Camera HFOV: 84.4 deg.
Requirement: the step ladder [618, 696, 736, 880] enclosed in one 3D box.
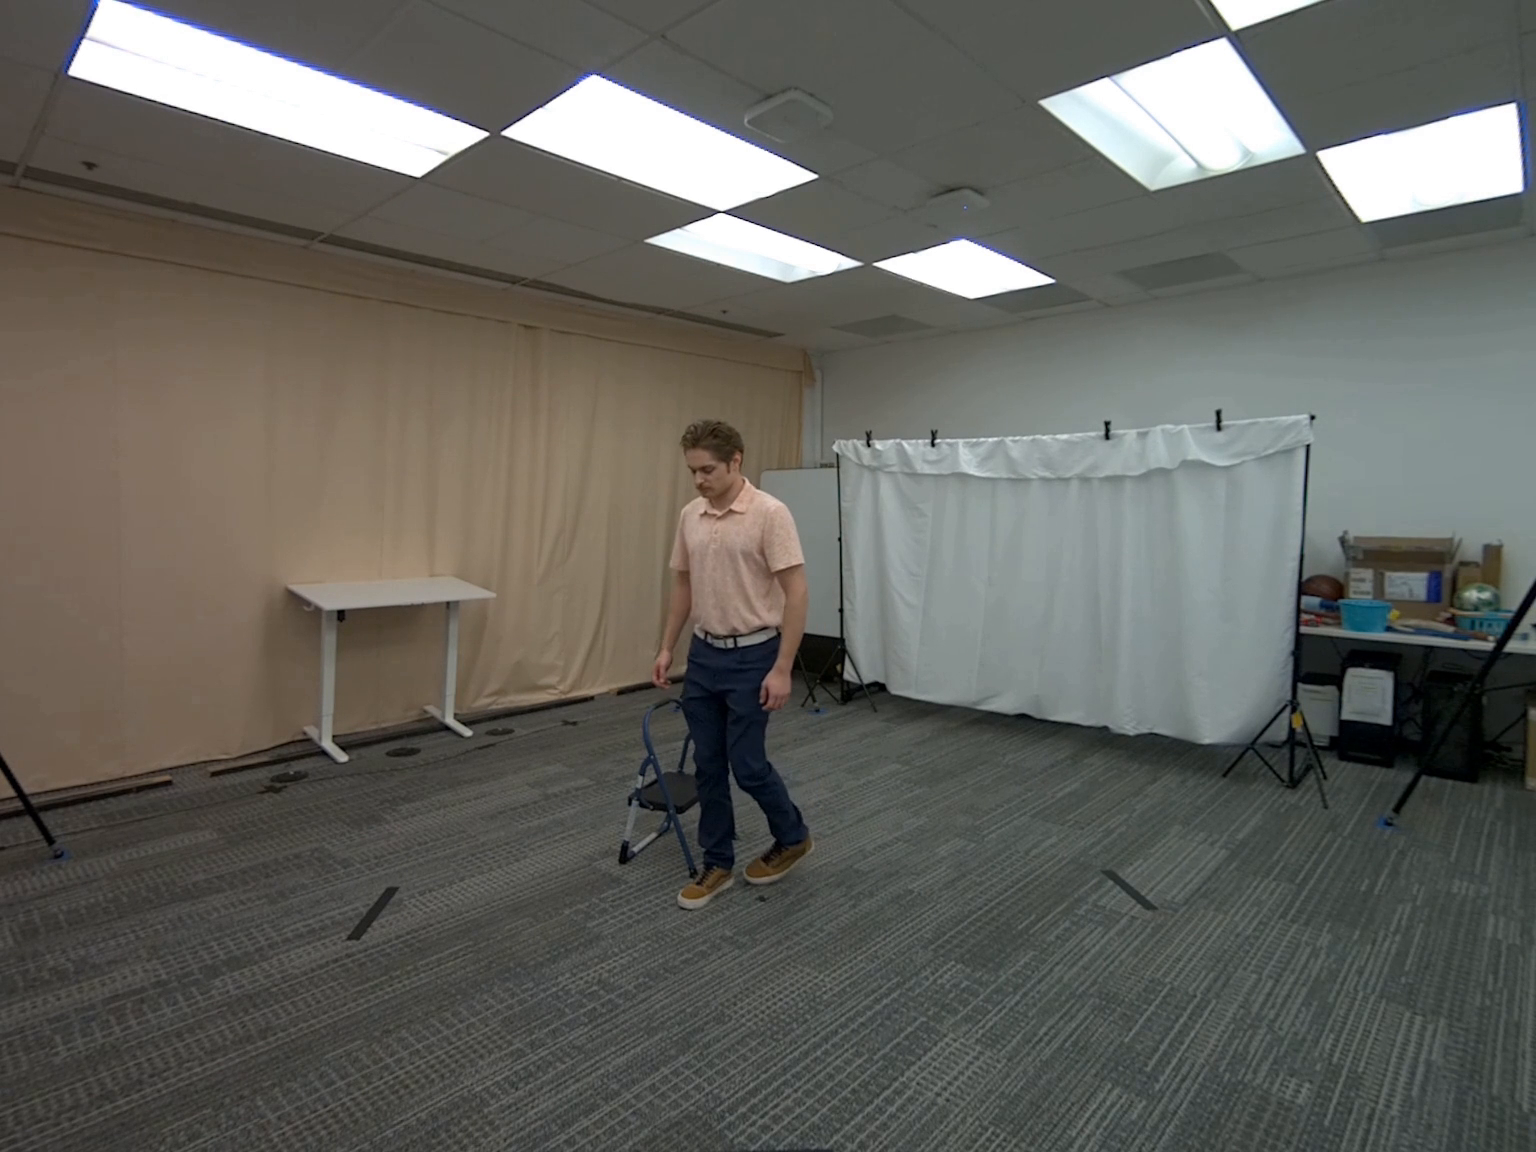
[{"bbox_3d":[-0.358,0.810,3.391,0.357,0.605,0.422,1,3,21],"label":"step ladder"}]
